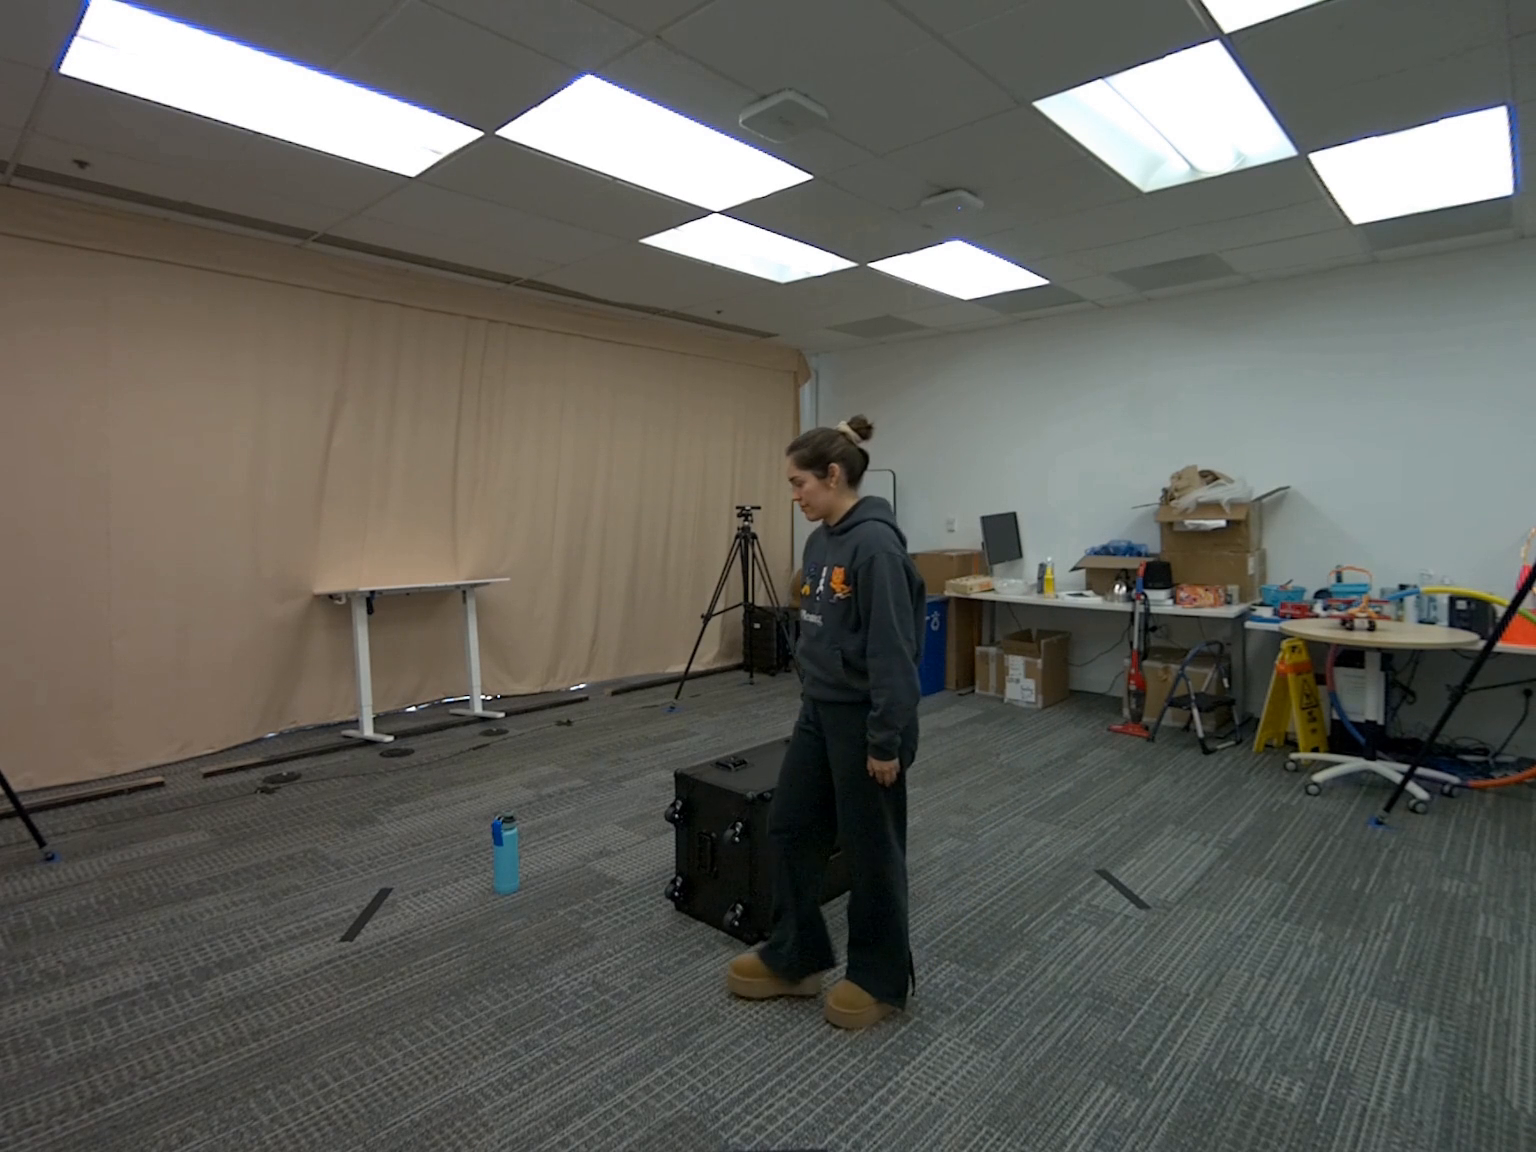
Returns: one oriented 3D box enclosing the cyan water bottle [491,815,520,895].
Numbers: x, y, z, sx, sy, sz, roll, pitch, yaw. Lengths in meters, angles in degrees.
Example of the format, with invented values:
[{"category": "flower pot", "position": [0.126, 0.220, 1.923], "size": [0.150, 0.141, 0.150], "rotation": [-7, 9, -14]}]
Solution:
[{"category": "cyan water bottle", "position": [-0.943, 1.018, 3.077], "size": [0.092, 0.283, 0.092], "rotation": [-2, 2, -2]}]
